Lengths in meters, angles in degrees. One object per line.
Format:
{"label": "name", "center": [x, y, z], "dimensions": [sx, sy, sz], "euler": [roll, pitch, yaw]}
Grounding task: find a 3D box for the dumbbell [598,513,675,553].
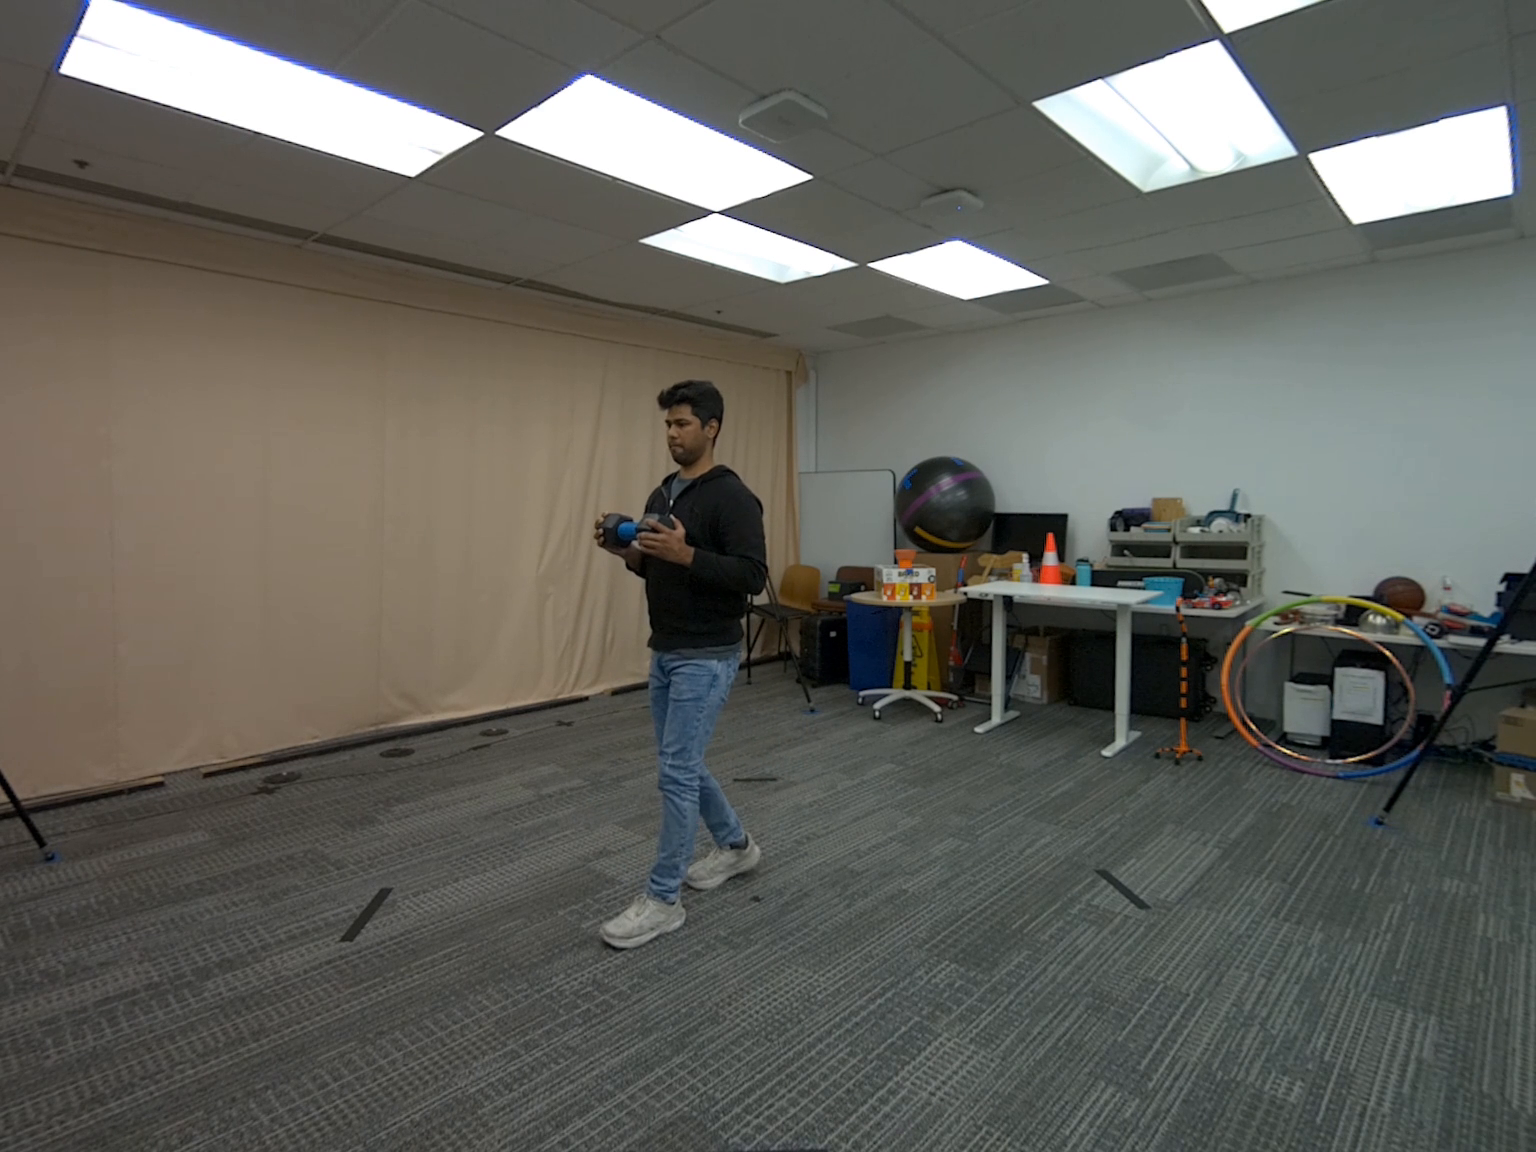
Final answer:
{"label": "dumbbell", "center": [-0.415, -0.130, 2.721], "dimensions": [0.106, 0.121, 0.303], "euler": [-24, 20, -39]}
